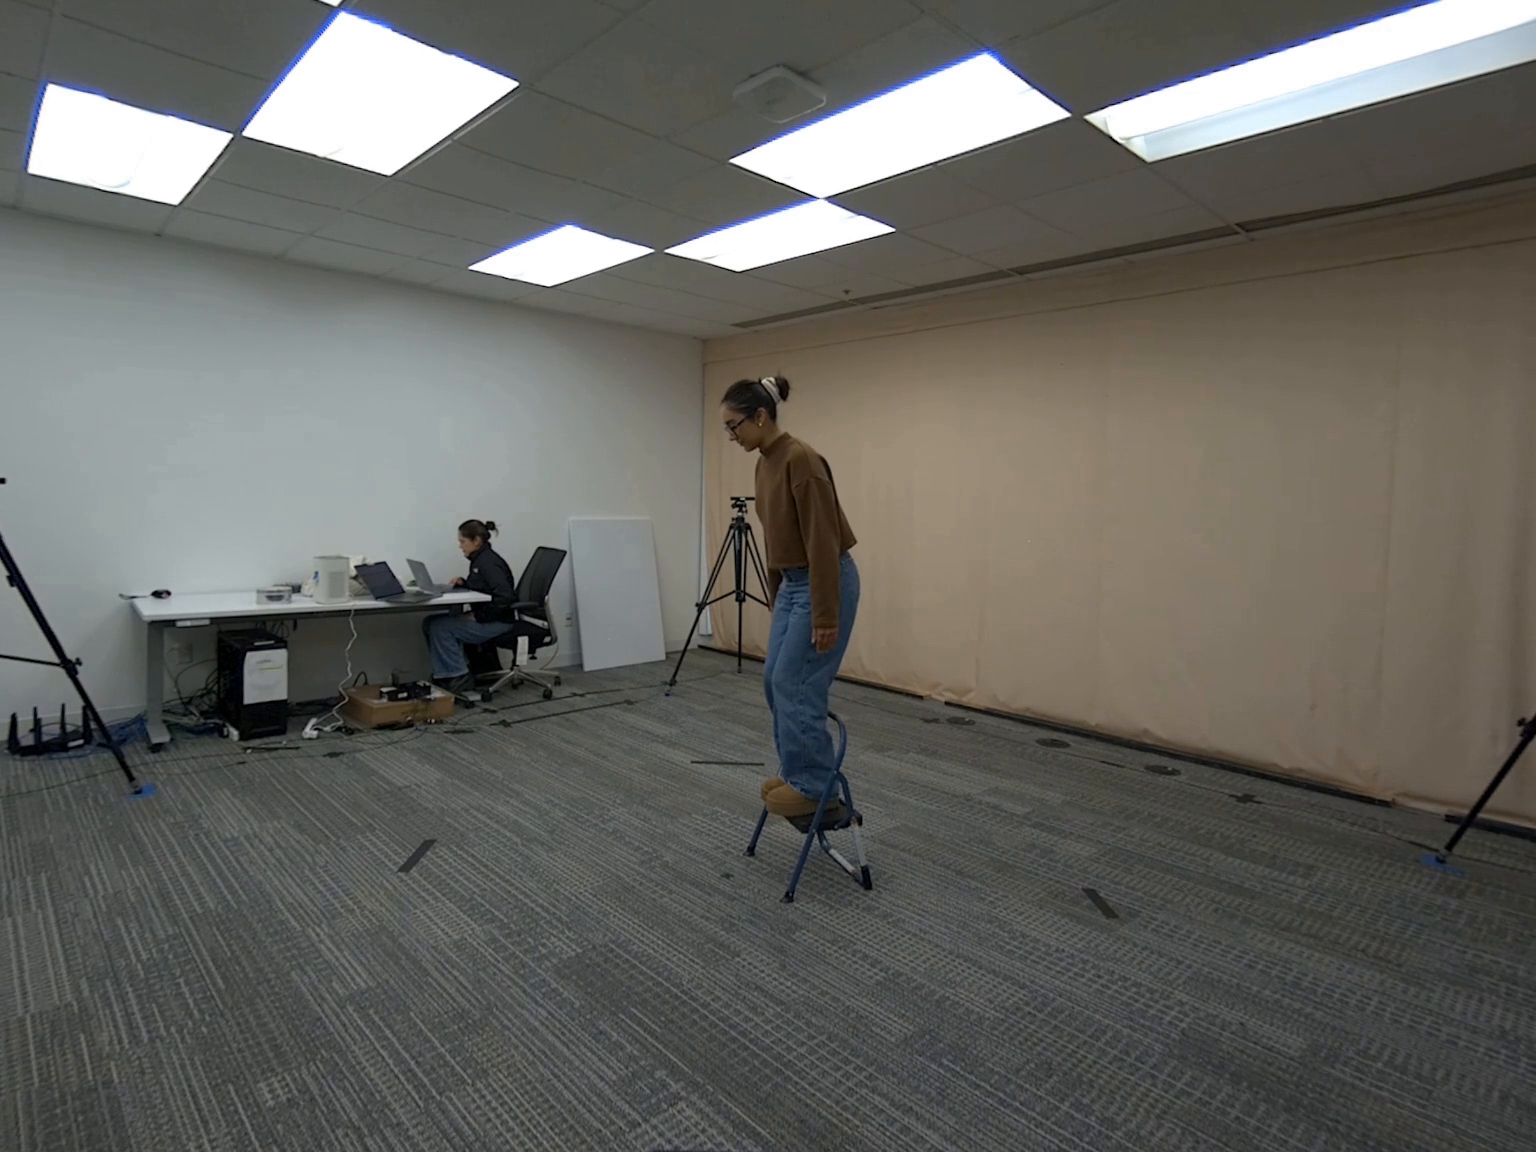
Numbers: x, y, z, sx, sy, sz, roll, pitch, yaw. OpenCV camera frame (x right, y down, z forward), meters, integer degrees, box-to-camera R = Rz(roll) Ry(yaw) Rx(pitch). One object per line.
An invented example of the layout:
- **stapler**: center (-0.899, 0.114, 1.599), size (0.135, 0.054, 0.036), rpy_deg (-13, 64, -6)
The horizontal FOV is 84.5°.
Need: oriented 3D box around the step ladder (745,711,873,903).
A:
- **step ladder**: center (0.147, 0.812, 3.140), size (0.344, 0.605, 0.438), rpy_deg (0, 4, -21)
